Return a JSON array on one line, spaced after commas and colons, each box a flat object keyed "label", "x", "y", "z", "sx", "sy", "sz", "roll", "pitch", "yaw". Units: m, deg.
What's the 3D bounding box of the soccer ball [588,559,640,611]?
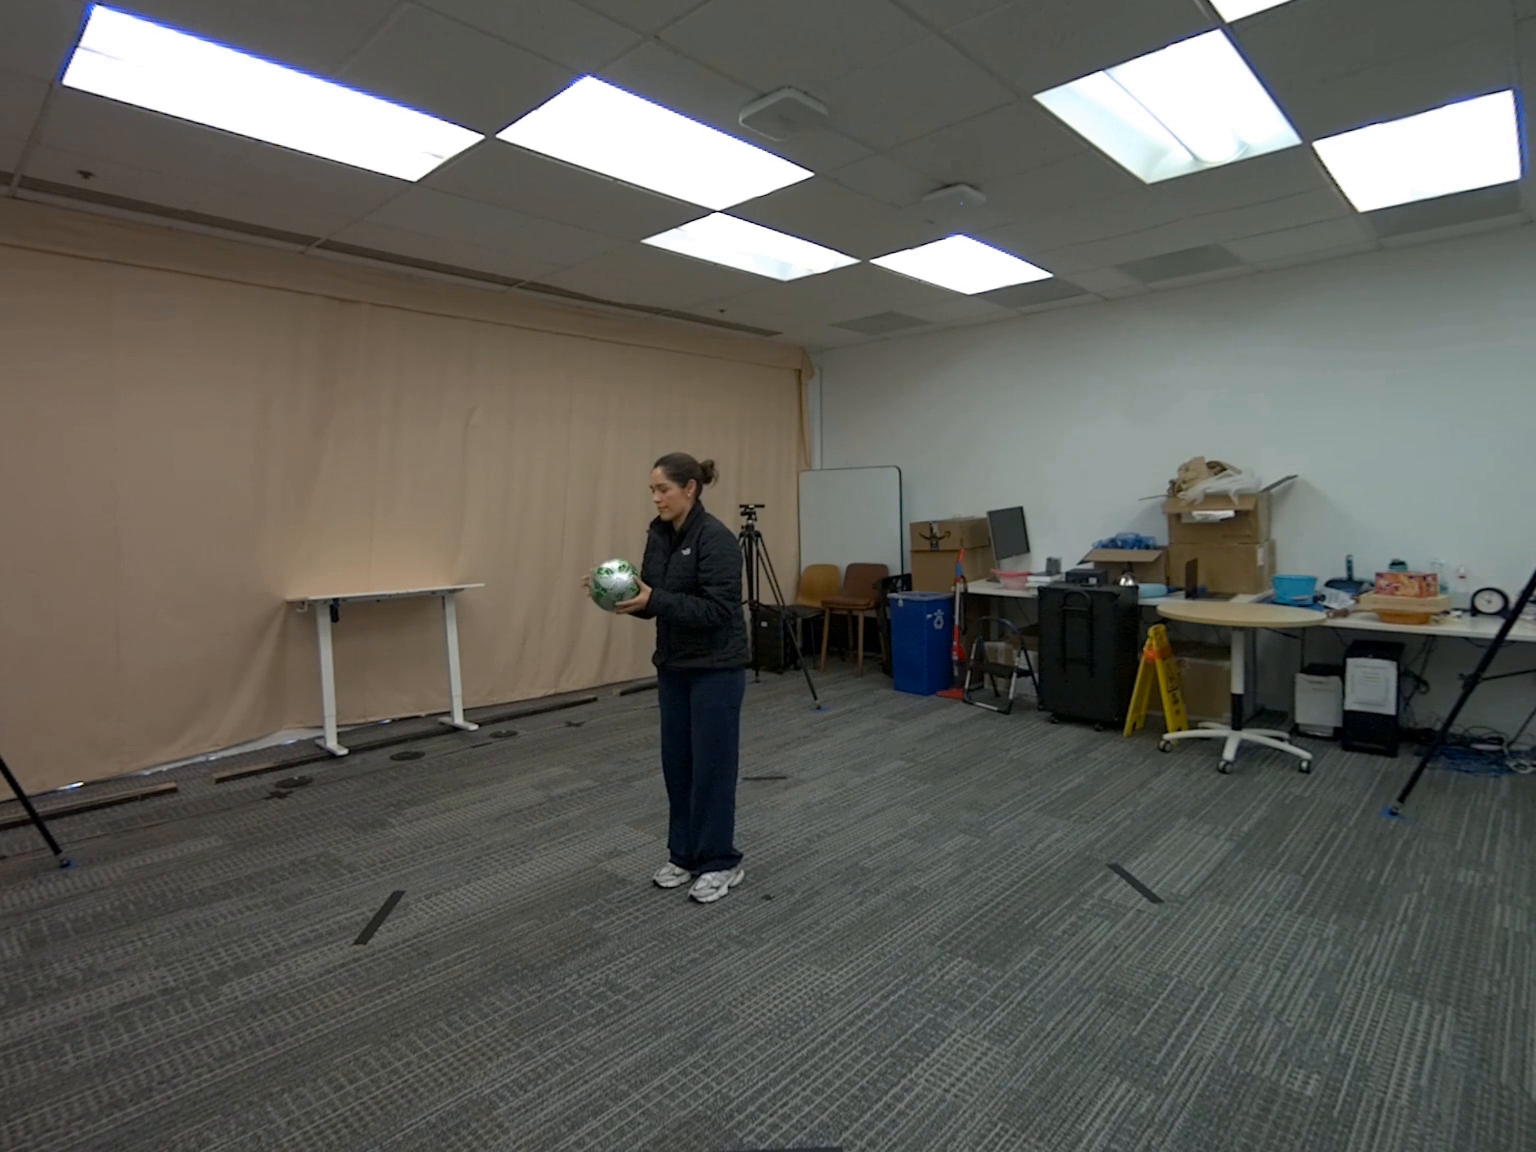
[{"label": "soccer ball", "x": -0.523, "y": 0.046, "z": 2.946, "sx": 0.187, "sy": 0.187, "sz": 0.188, "roll": -1, "pitch": 4, "yaw": -2}]
